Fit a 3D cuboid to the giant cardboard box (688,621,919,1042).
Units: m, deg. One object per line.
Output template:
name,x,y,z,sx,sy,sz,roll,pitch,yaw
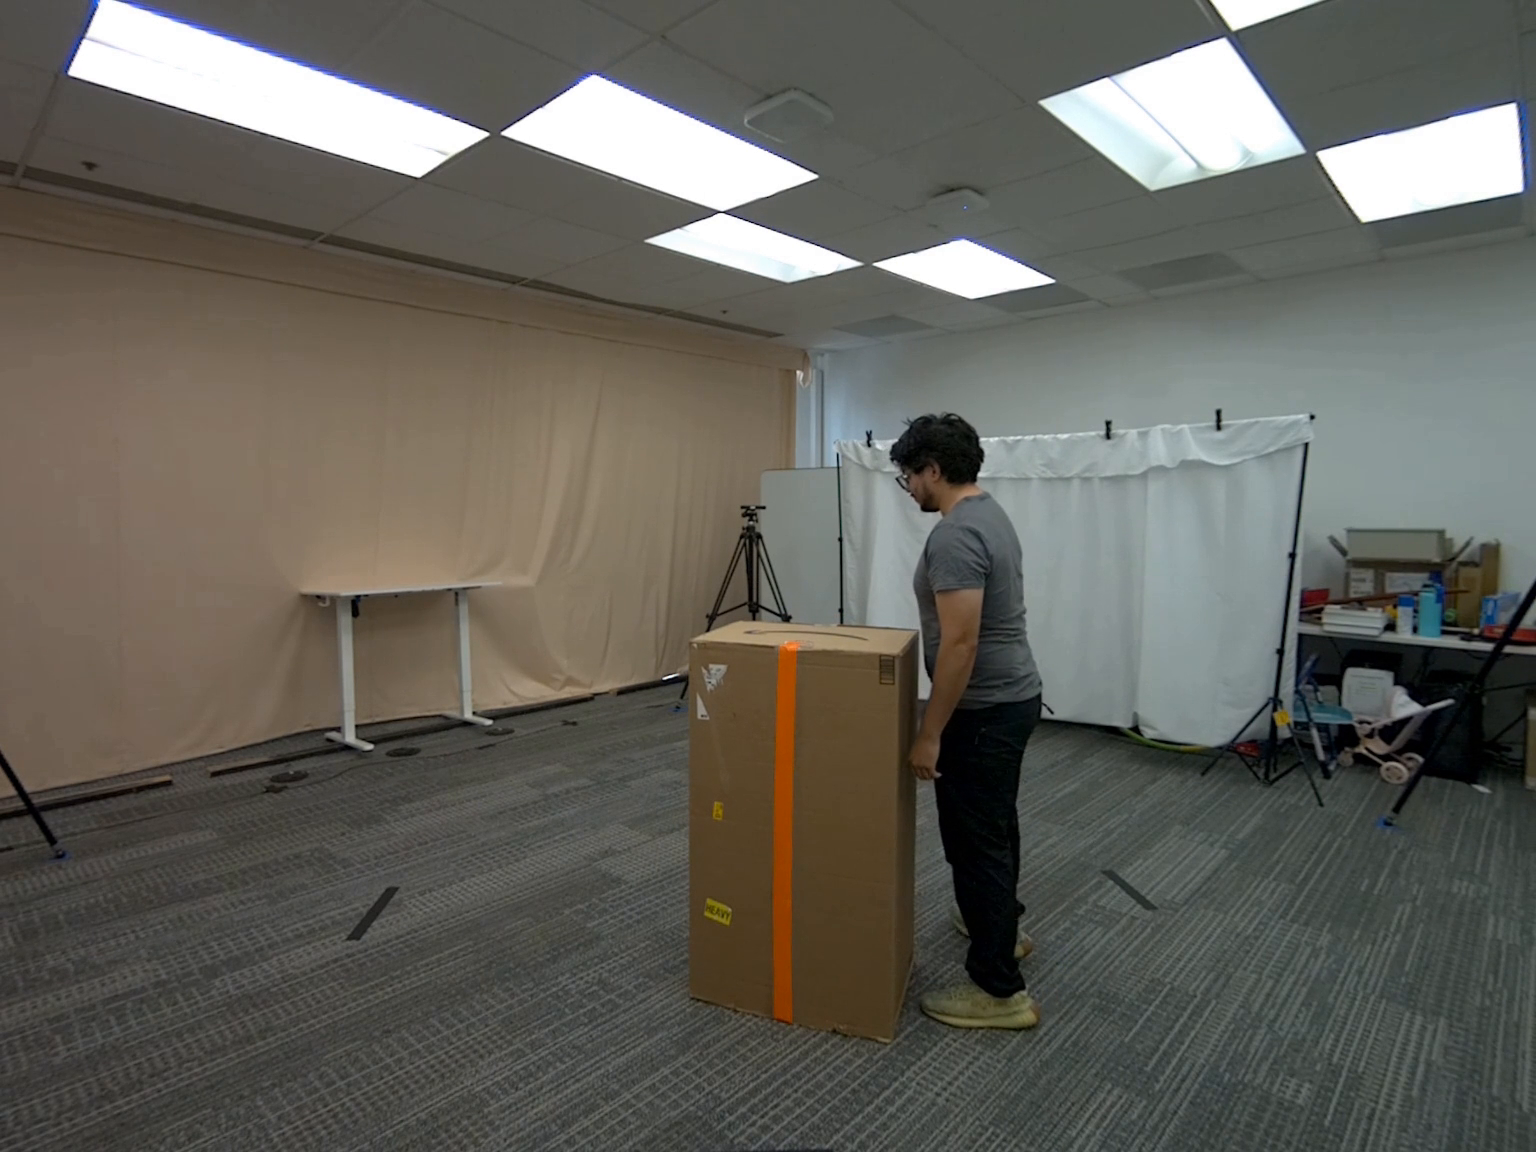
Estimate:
giant cardboard box,0.113,0.682,2.447,0.596,1.025,0.438,1,3,19
